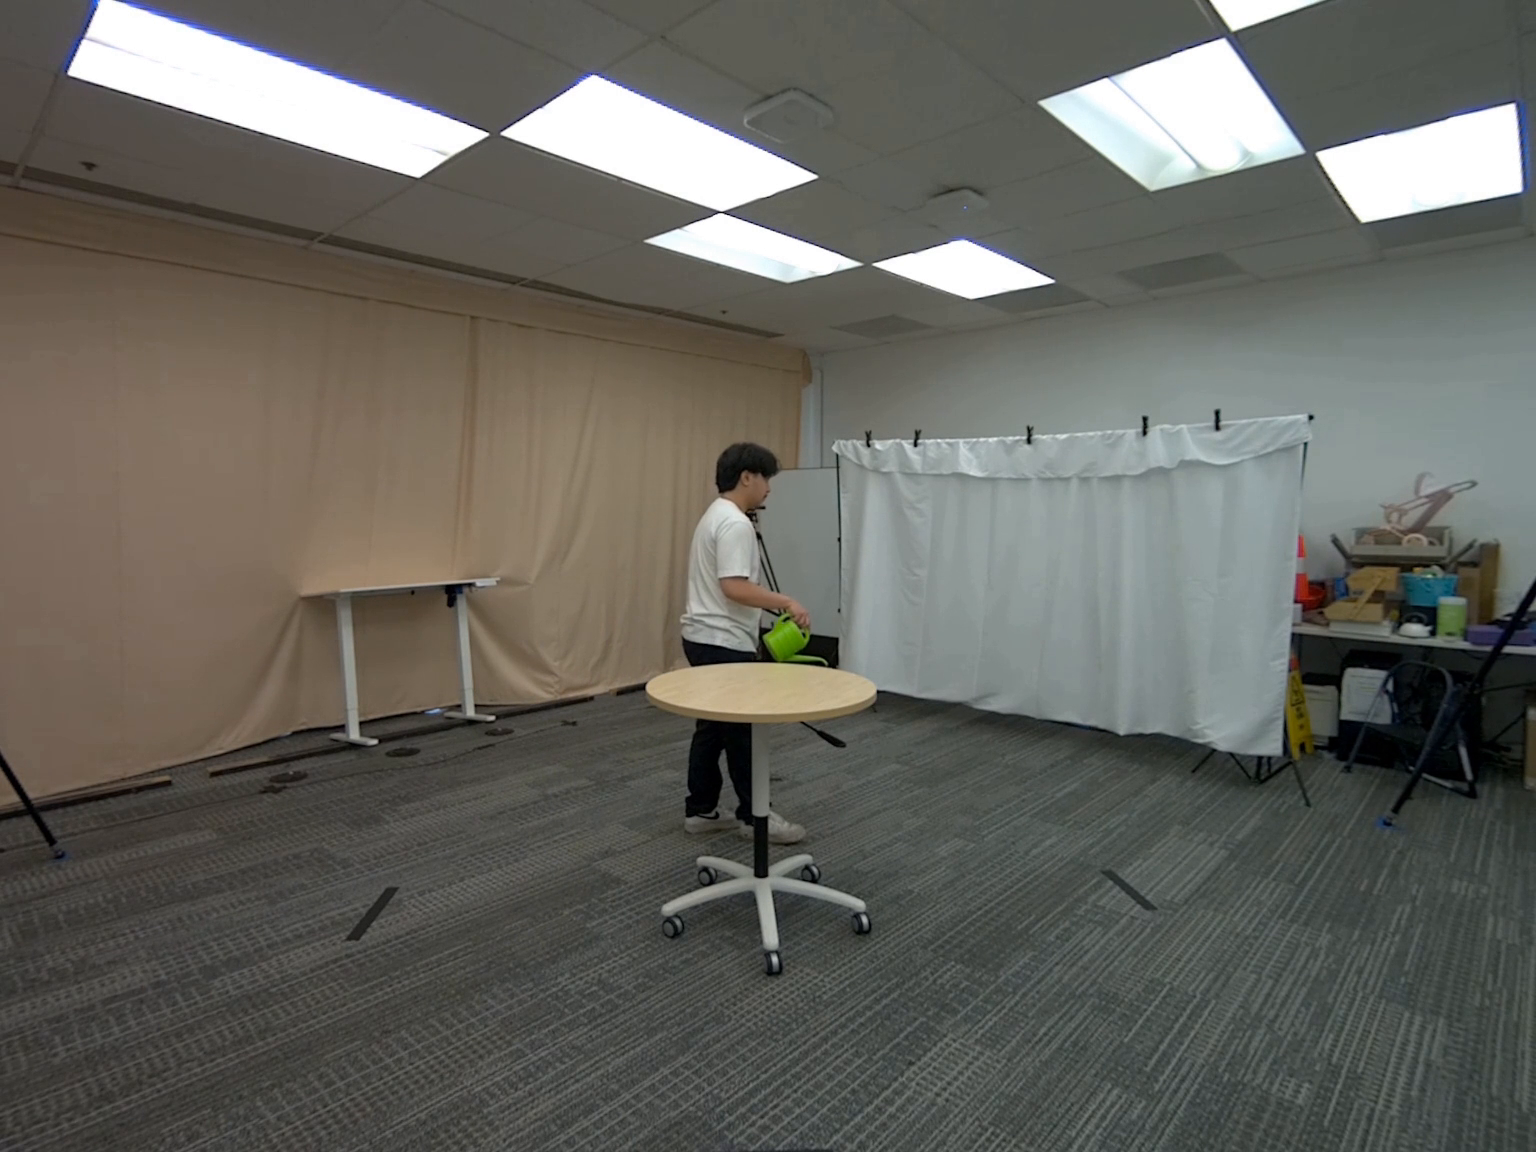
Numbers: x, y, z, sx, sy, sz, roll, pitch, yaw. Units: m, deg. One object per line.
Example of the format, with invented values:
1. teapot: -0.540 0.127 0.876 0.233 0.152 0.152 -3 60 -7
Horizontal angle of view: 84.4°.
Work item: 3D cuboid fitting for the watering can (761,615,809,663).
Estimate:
1. watering can: 0.108 0.293 3.395 0.176 0.279 0.098 -32 -3 -5
